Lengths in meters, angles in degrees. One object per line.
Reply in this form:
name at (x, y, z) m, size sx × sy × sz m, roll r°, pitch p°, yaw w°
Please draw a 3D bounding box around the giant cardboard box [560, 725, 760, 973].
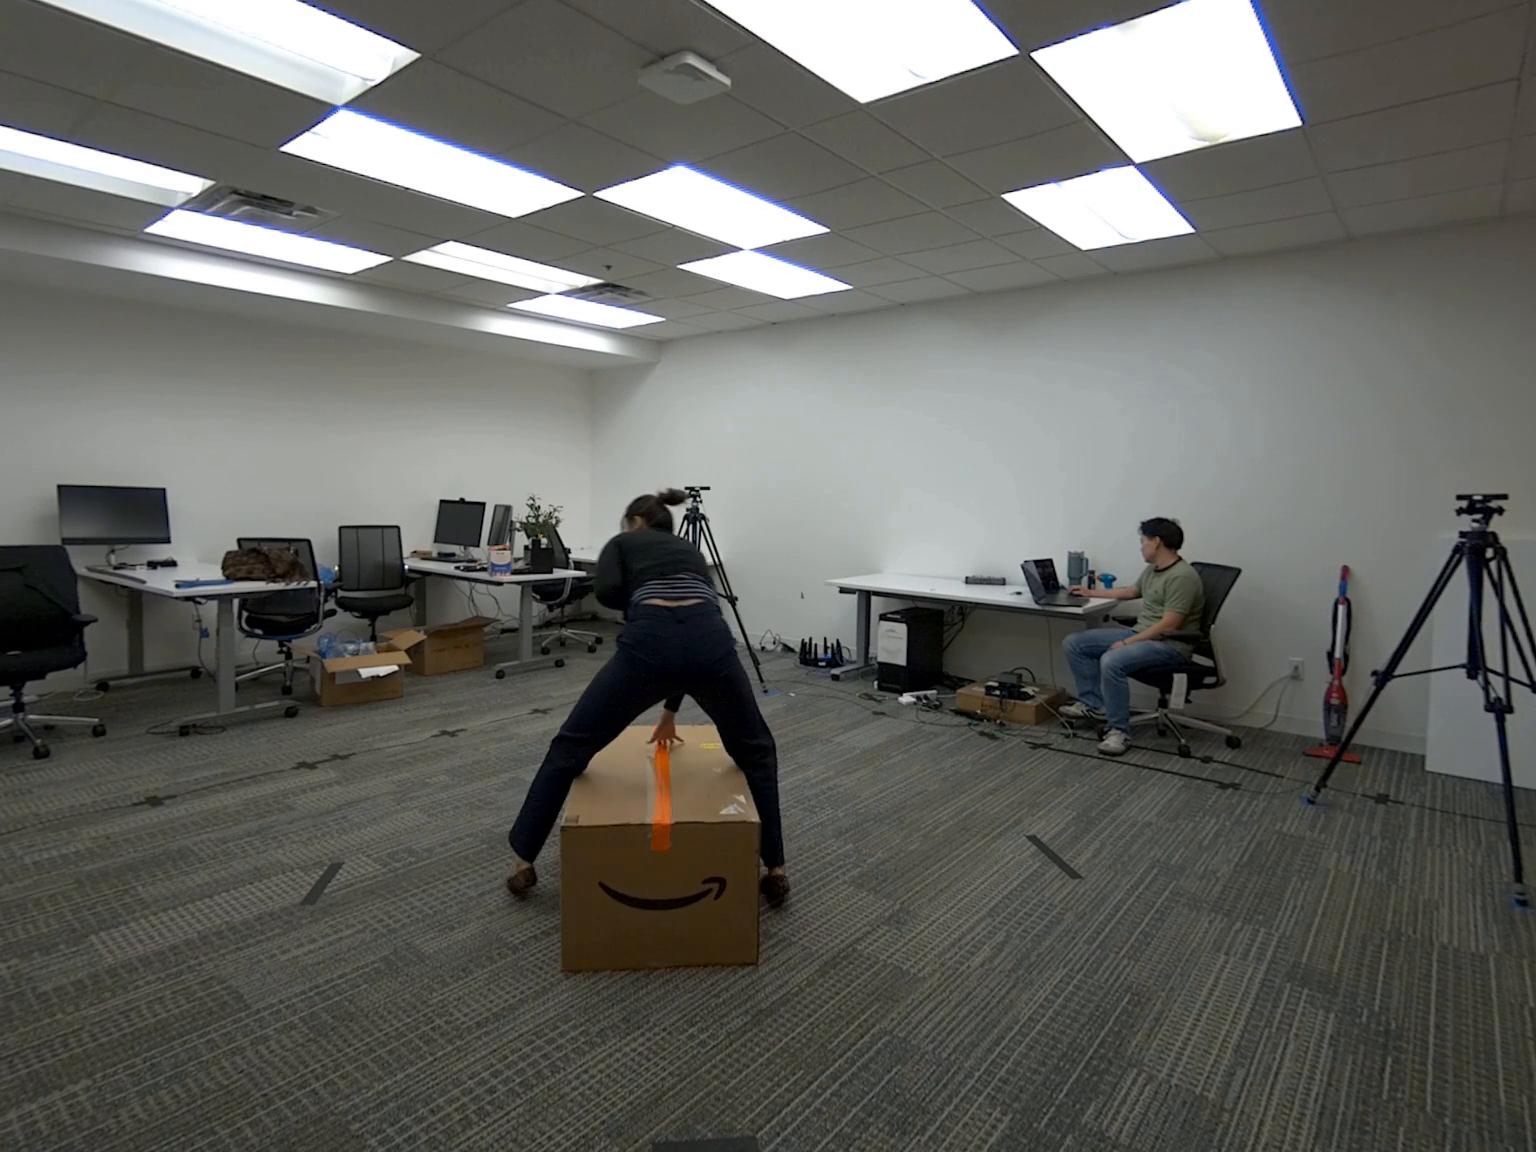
giant cardboard box at (-0.385, 0.865, 2.944) m, size 0.573 × 0.425 × 1.037 m, roll 0°, pitch 5°, yaw -8°
